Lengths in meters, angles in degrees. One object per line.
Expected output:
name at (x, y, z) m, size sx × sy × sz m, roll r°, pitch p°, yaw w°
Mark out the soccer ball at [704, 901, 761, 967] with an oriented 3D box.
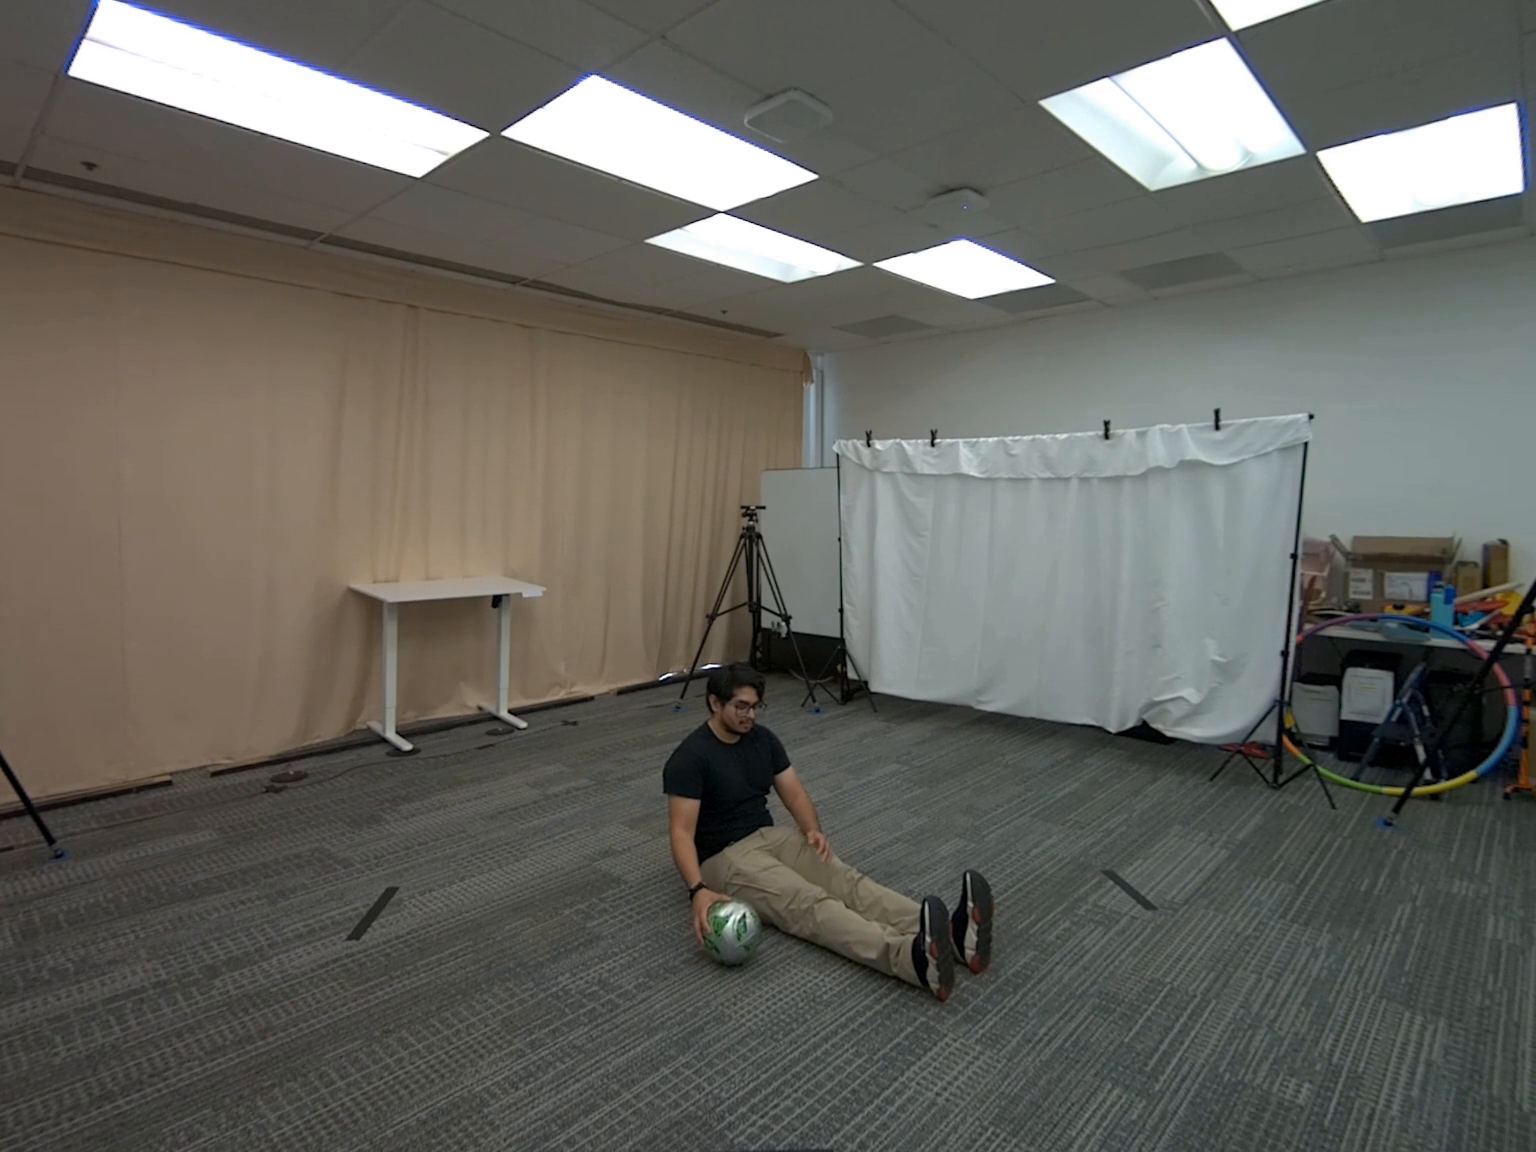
soccer ball at (-0.110, 1.078, 2.573) m, size 0.187 × 0.187 × 0.188 m, roll 0°, pitch 4°, yaw -2°
